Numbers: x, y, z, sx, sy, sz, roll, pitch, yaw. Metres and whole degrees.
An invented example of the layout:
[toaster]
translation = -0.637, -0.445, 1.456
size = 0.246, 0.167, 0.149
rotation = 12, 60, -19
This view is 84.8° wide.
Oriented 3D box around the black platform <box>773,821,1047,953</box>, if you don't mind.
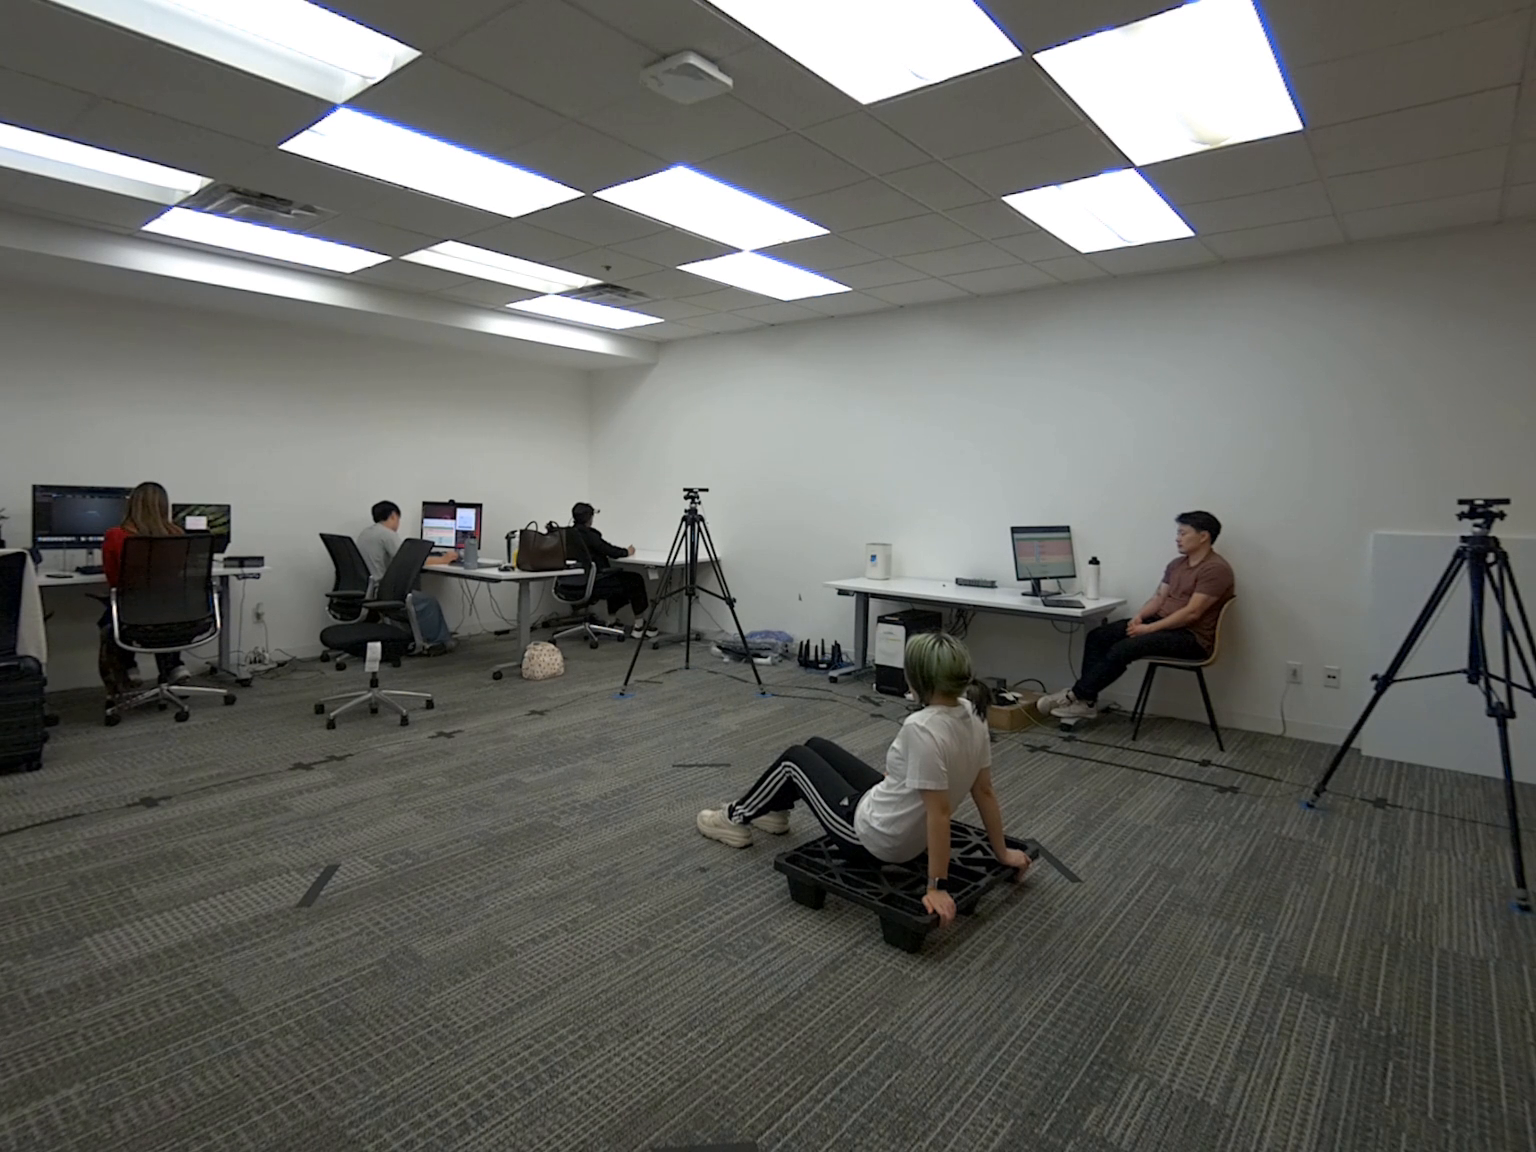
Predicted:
[black platform]
translation = 0.486, 1.030, 2.981
size = 0.626, 0.143, 0.781
rotation = 6, 7, 43
